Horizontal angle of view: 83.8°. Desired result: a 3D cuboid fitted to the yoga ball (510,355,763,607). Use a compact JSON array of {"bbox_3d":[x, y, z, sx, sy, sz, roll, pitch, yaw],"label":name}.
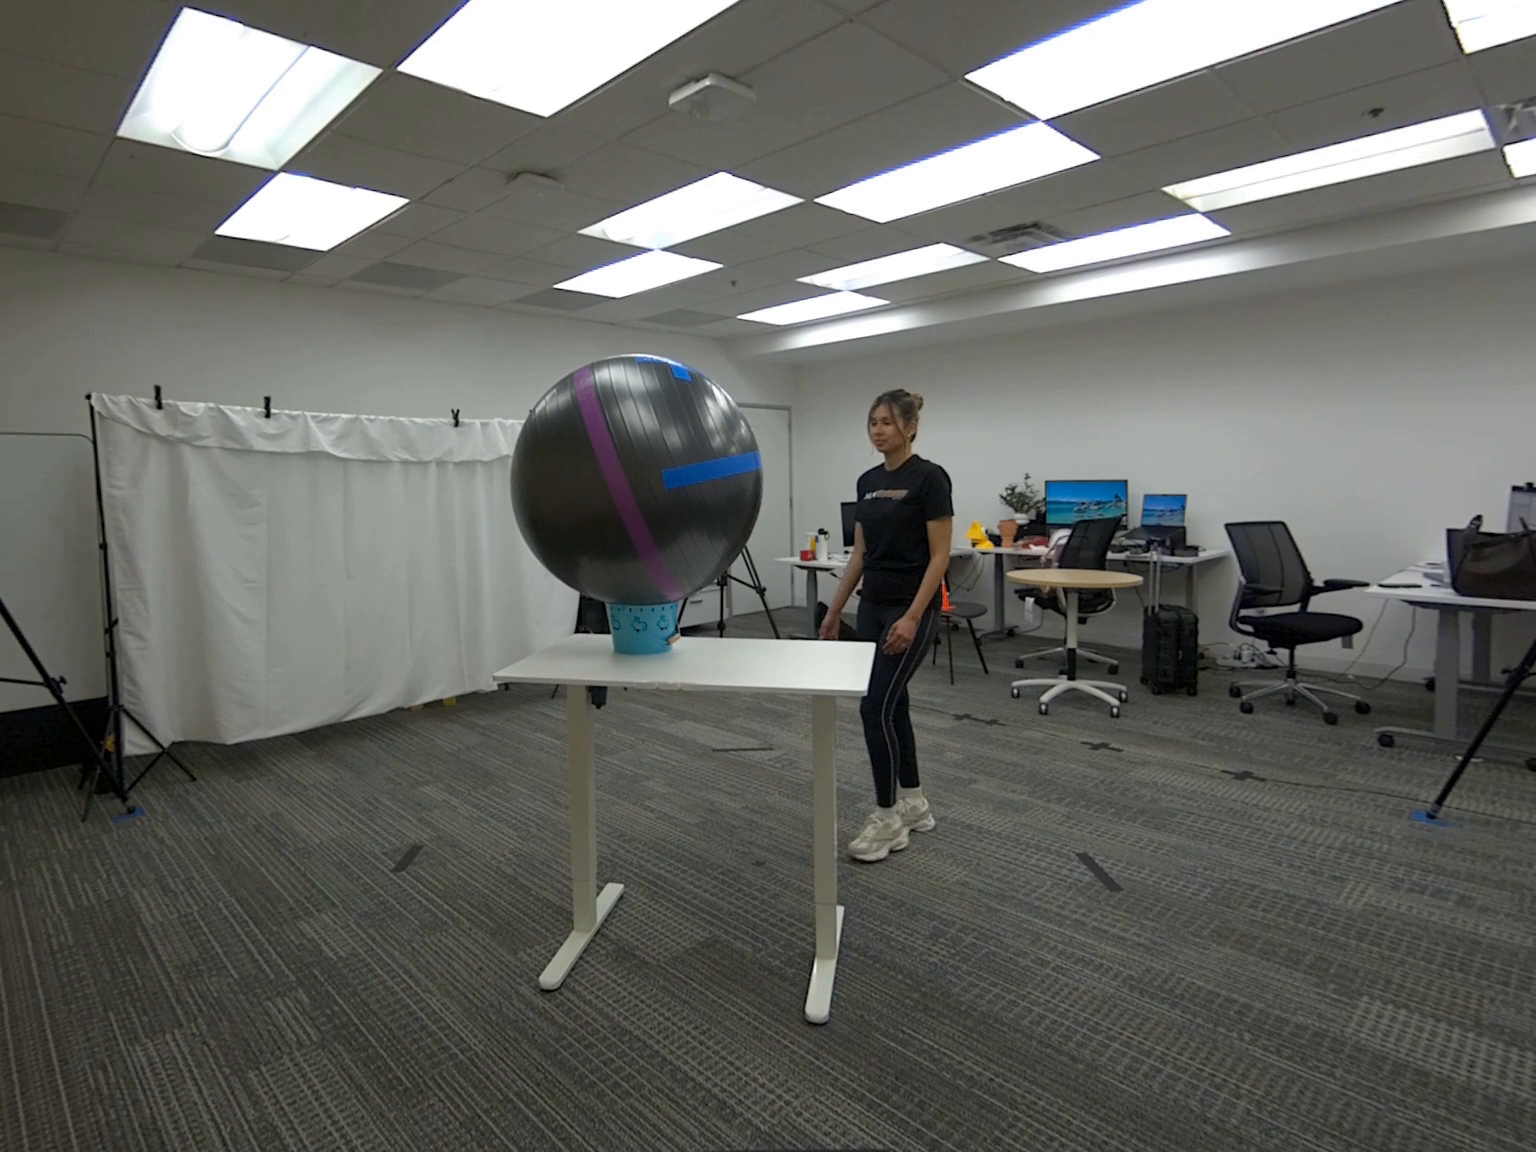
[{"bbox_3d":[-0.395,-0.281,2.598,0.757,0.755,0.762,-1,5,-2],"label":"yoga ball"}]
